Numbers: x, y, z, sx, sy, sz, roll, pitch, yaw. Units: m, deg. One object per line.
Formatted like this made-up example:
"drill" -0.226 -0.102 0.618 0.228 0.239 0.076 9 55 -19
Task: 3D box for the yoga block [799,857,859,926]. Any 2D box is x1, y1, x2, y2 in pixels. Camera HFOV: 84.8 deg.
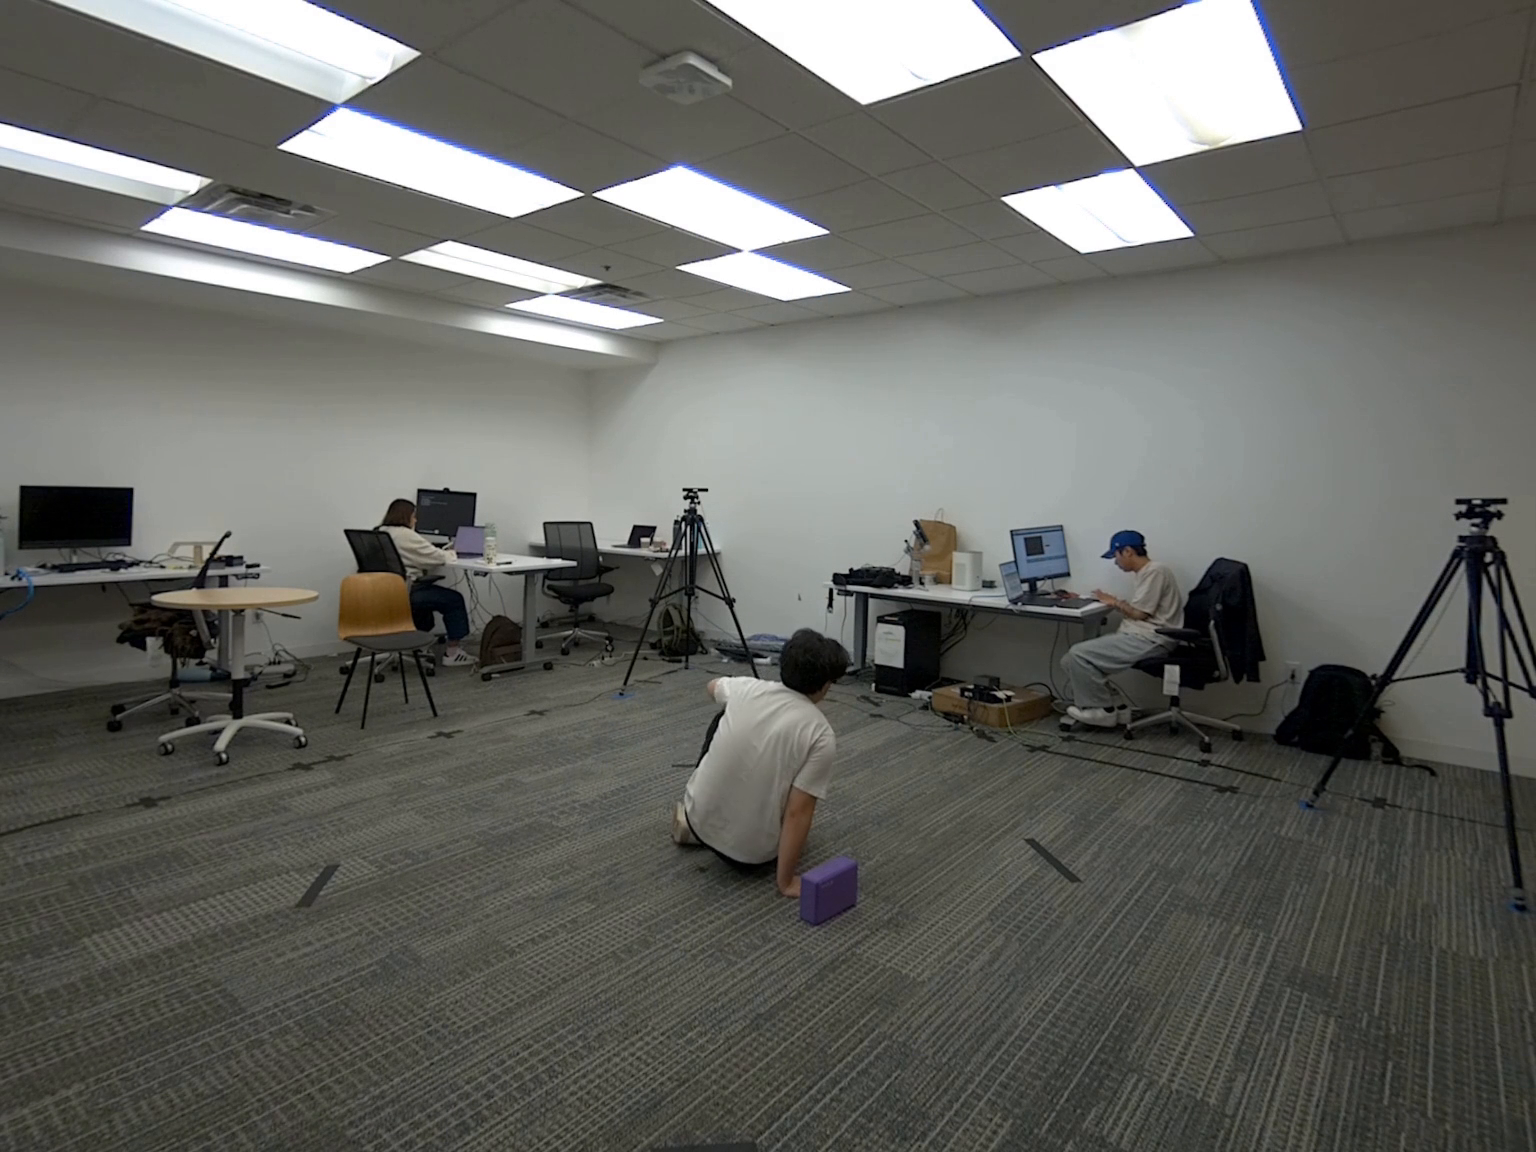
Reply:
"yoga block" 0.199 1.032 2.813 0.079 0.148 0.222 7 6 44
